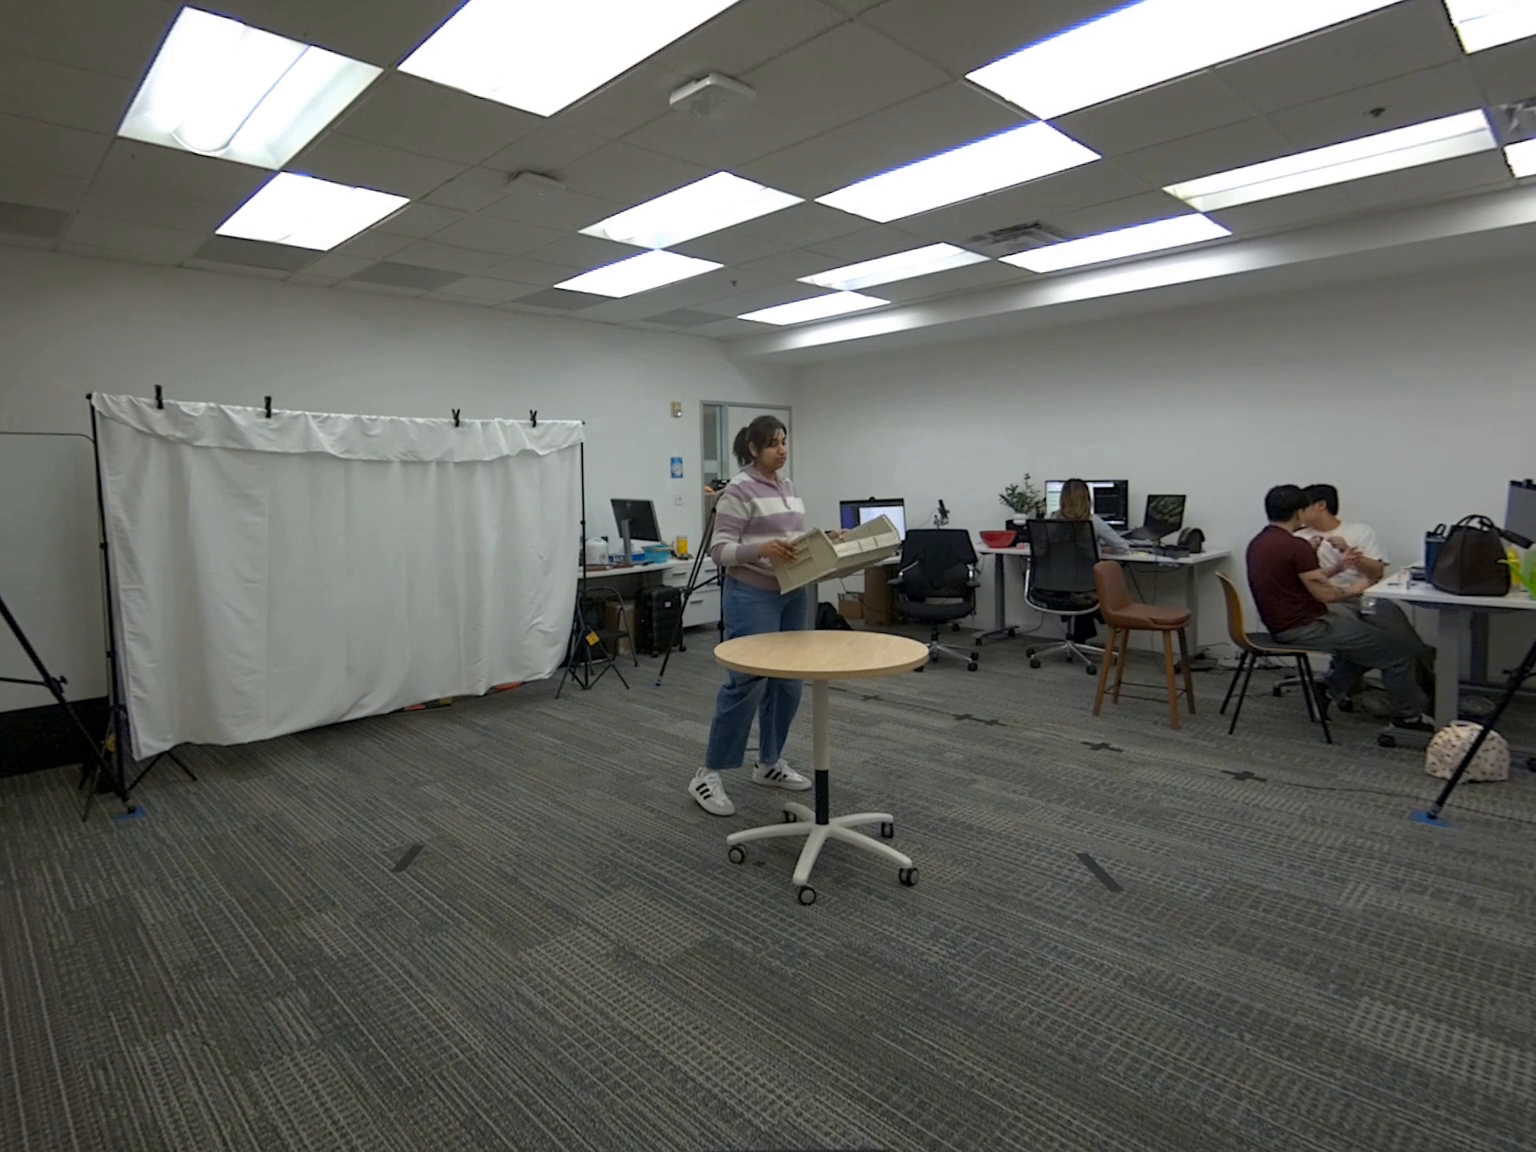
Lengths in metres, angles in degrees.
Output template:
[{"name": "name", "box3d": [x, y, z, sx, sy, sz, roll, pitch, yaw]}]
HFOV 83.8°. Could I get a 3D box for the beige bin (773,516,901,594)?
[{"name": "beige bin", "box3d": [0.267, -0.091, 3.530, 0.413, 0.191, 0.382, -14, -9, -42]}]
